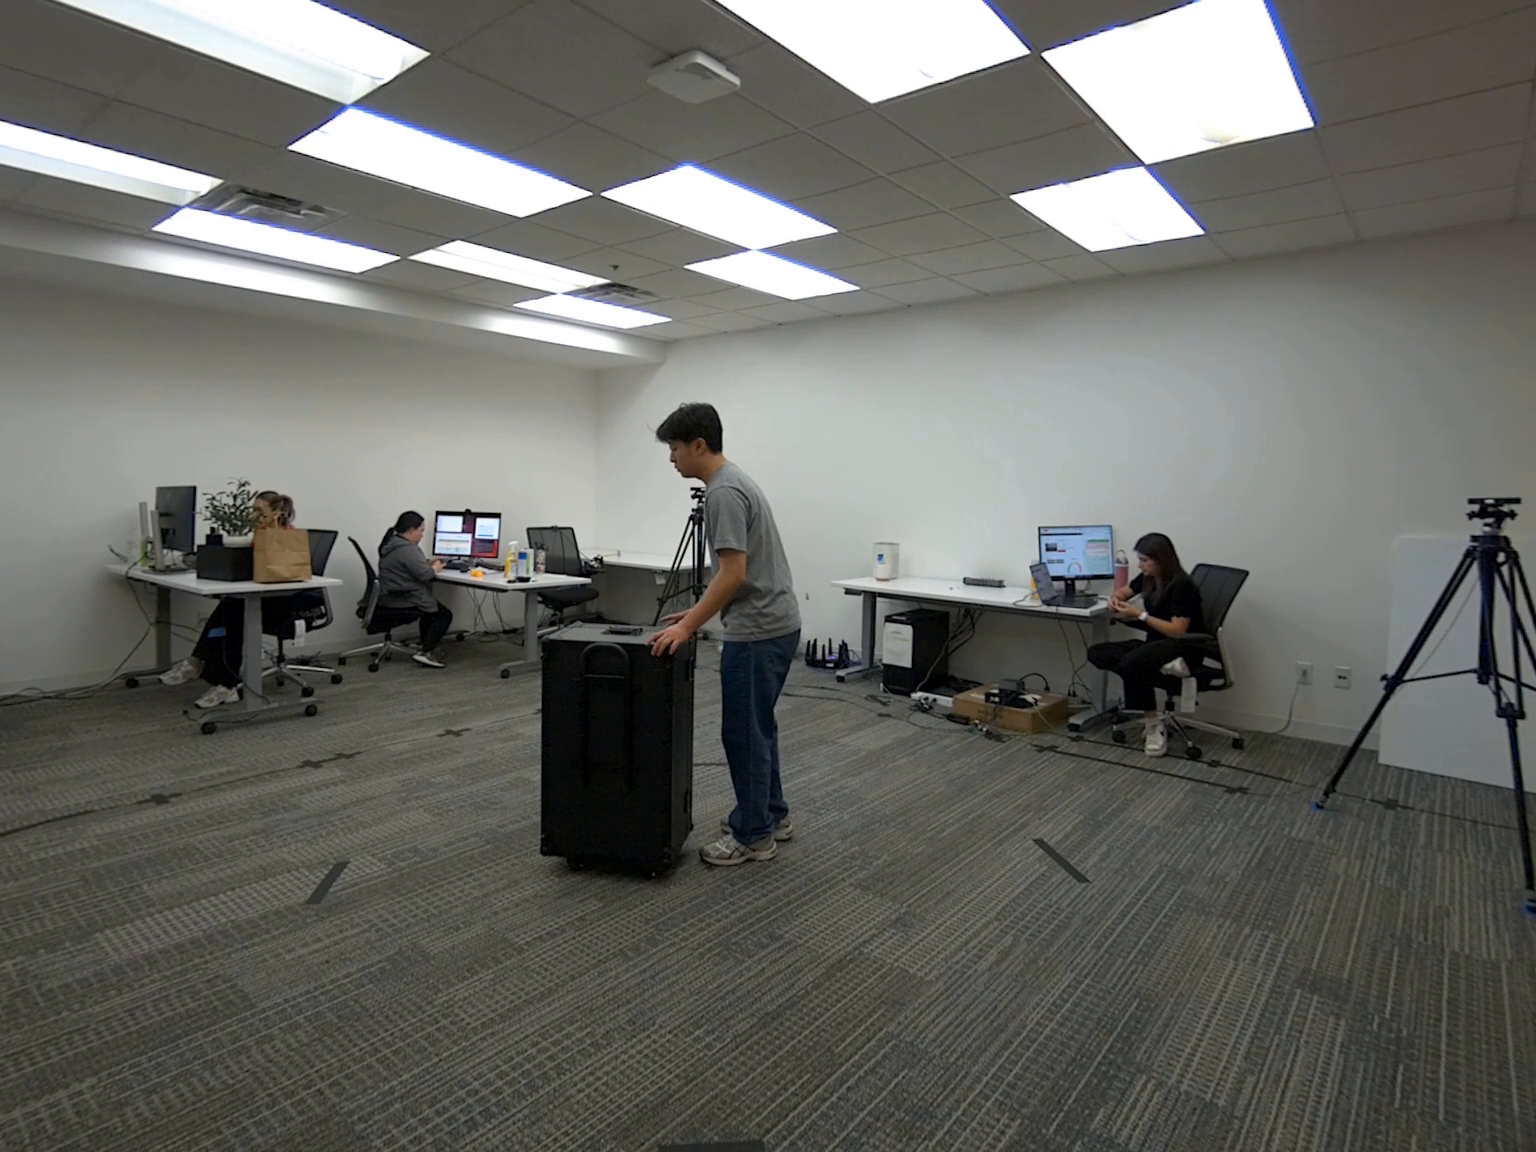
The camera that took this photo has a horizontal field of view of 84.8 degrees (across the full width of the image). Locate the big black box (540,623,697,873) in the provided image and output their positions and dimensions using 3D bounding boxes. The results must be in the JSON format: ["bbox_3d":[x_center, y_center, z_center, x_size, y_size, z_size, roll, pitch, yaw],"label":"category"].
[{"bbox_3d":[-0.554,0.638,3.122,0.527,0.858,0.393,1,4,9],"label":"big black box"}]
